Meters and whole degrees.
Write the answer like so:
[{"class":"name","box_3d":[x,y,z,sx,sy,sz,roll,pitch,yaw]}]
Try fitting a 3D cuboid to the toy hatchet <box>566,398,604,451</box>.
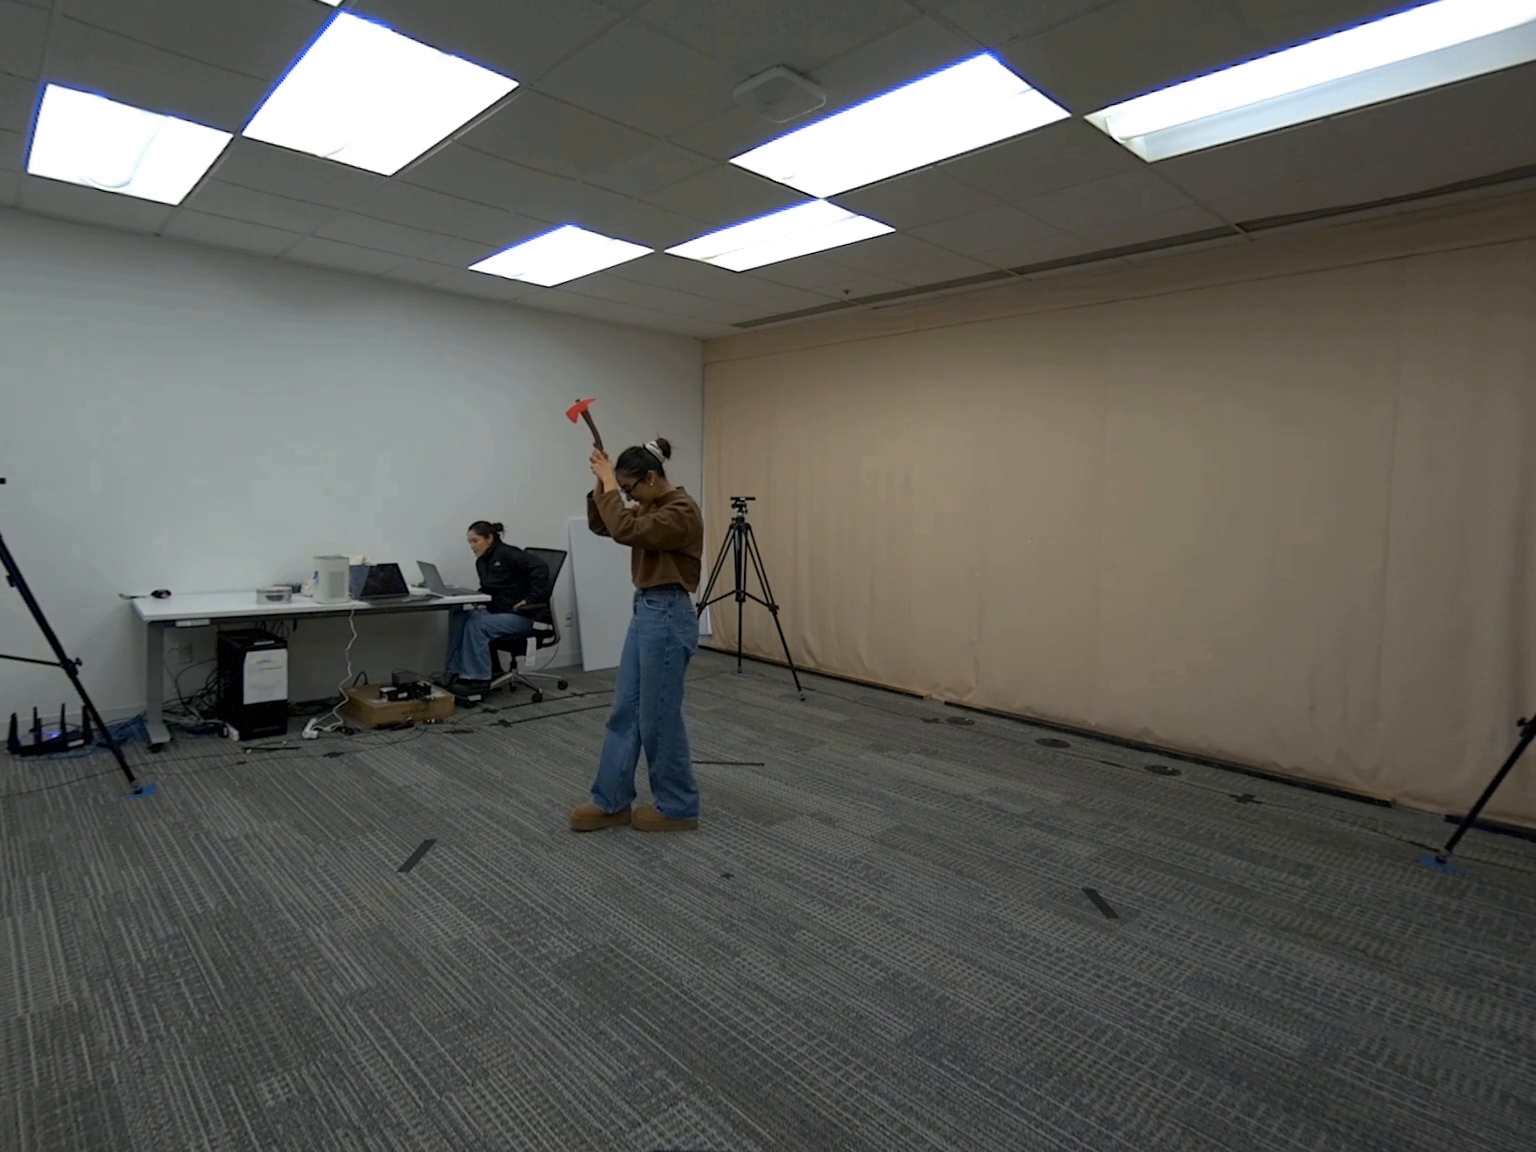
[{"class":"toy hatchet","box_3d":[-0.742,-0.581,3.367,0.129,0.267,0.030,-13,12,-25]}]
